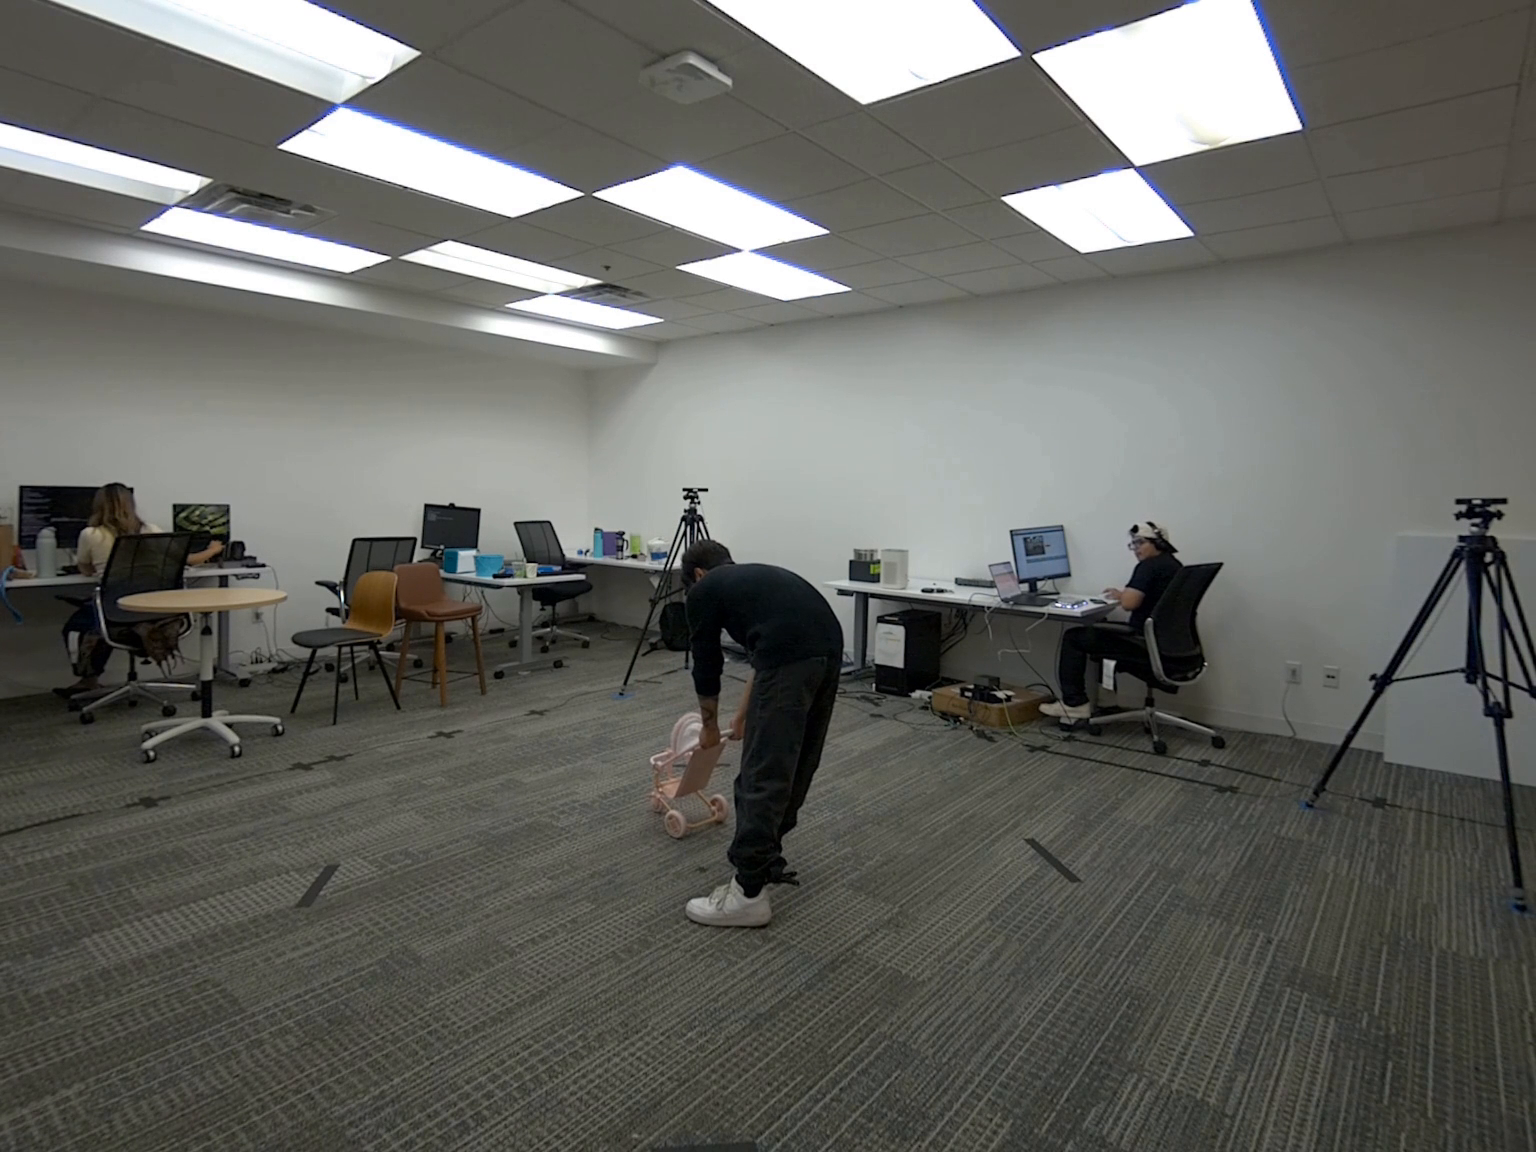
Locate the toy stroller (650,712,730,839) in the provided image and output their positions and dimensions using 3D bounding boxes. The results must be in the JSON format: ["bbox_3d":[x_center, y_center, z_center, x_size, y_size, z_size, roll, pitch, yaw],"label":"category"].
[{"bbox_3d":[-0.341,0.800,3.515,0.273,0.529,0.355,-2,19,-44],"label":"toy stroller"}]
